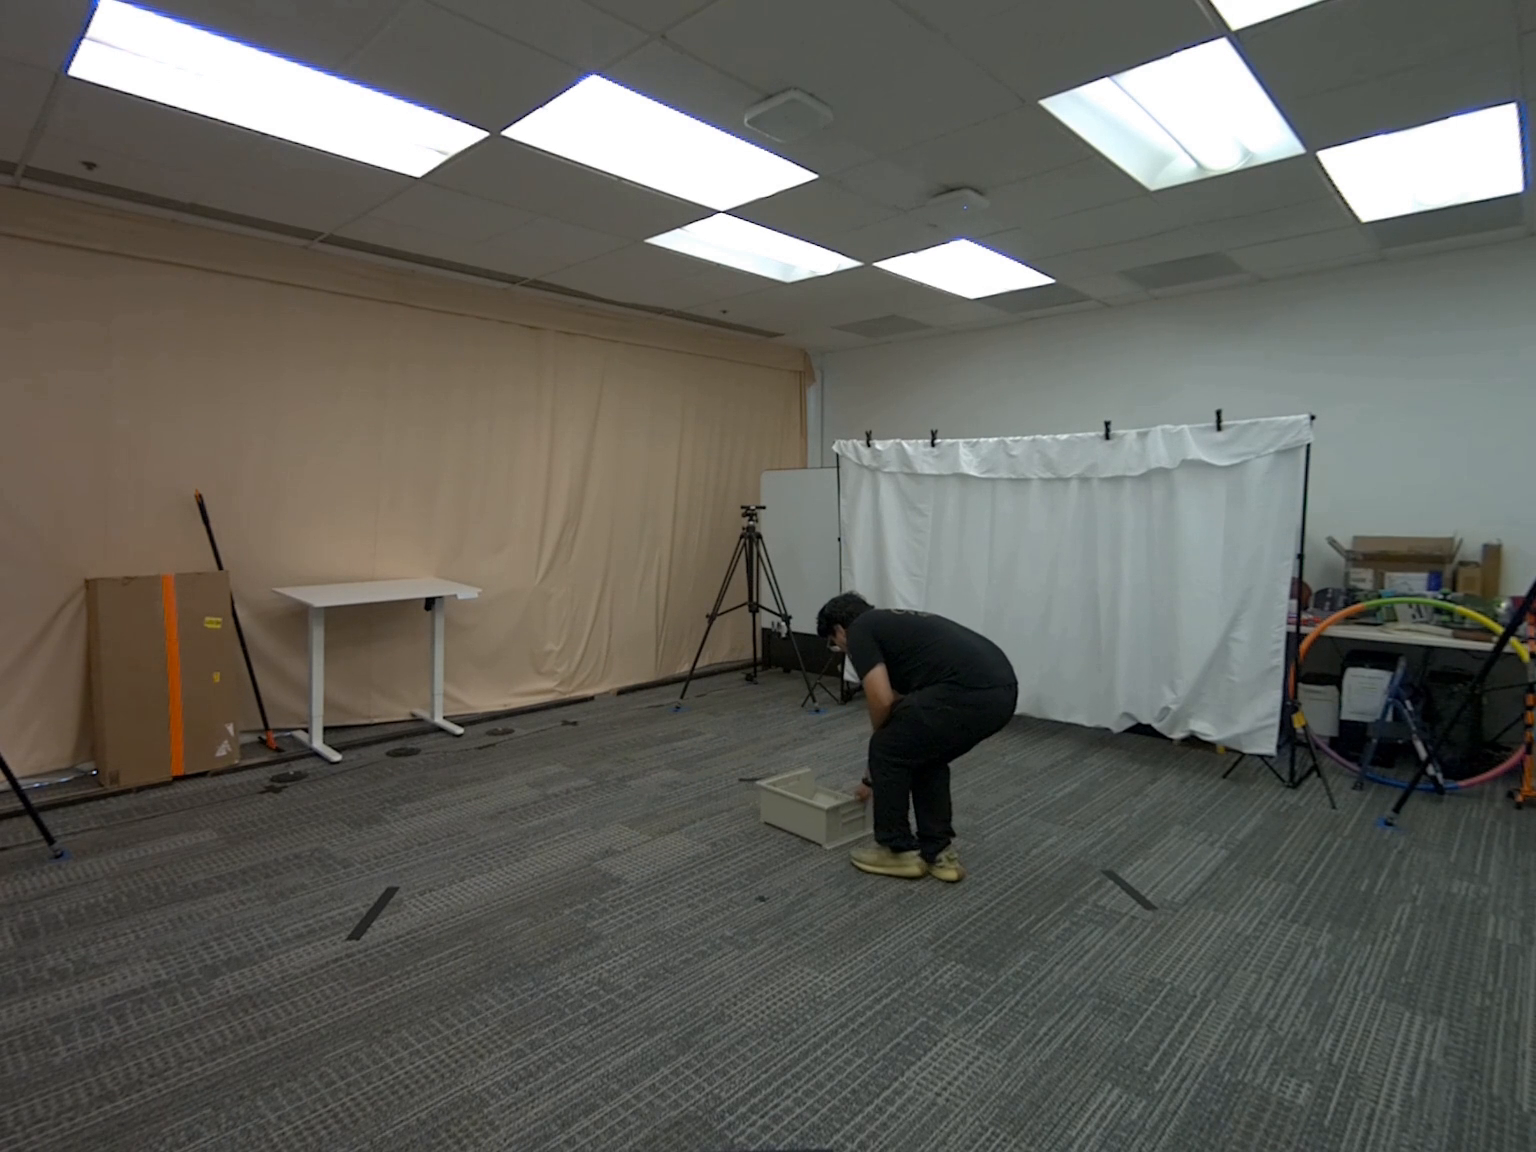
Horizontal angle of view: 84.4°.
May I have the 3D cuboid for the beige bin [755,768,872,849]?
[{"bbox_3d":[0.227,0.996,3.666,0.366,0.188,0.436,-6,8,-42],"label":"beige bin"}]
